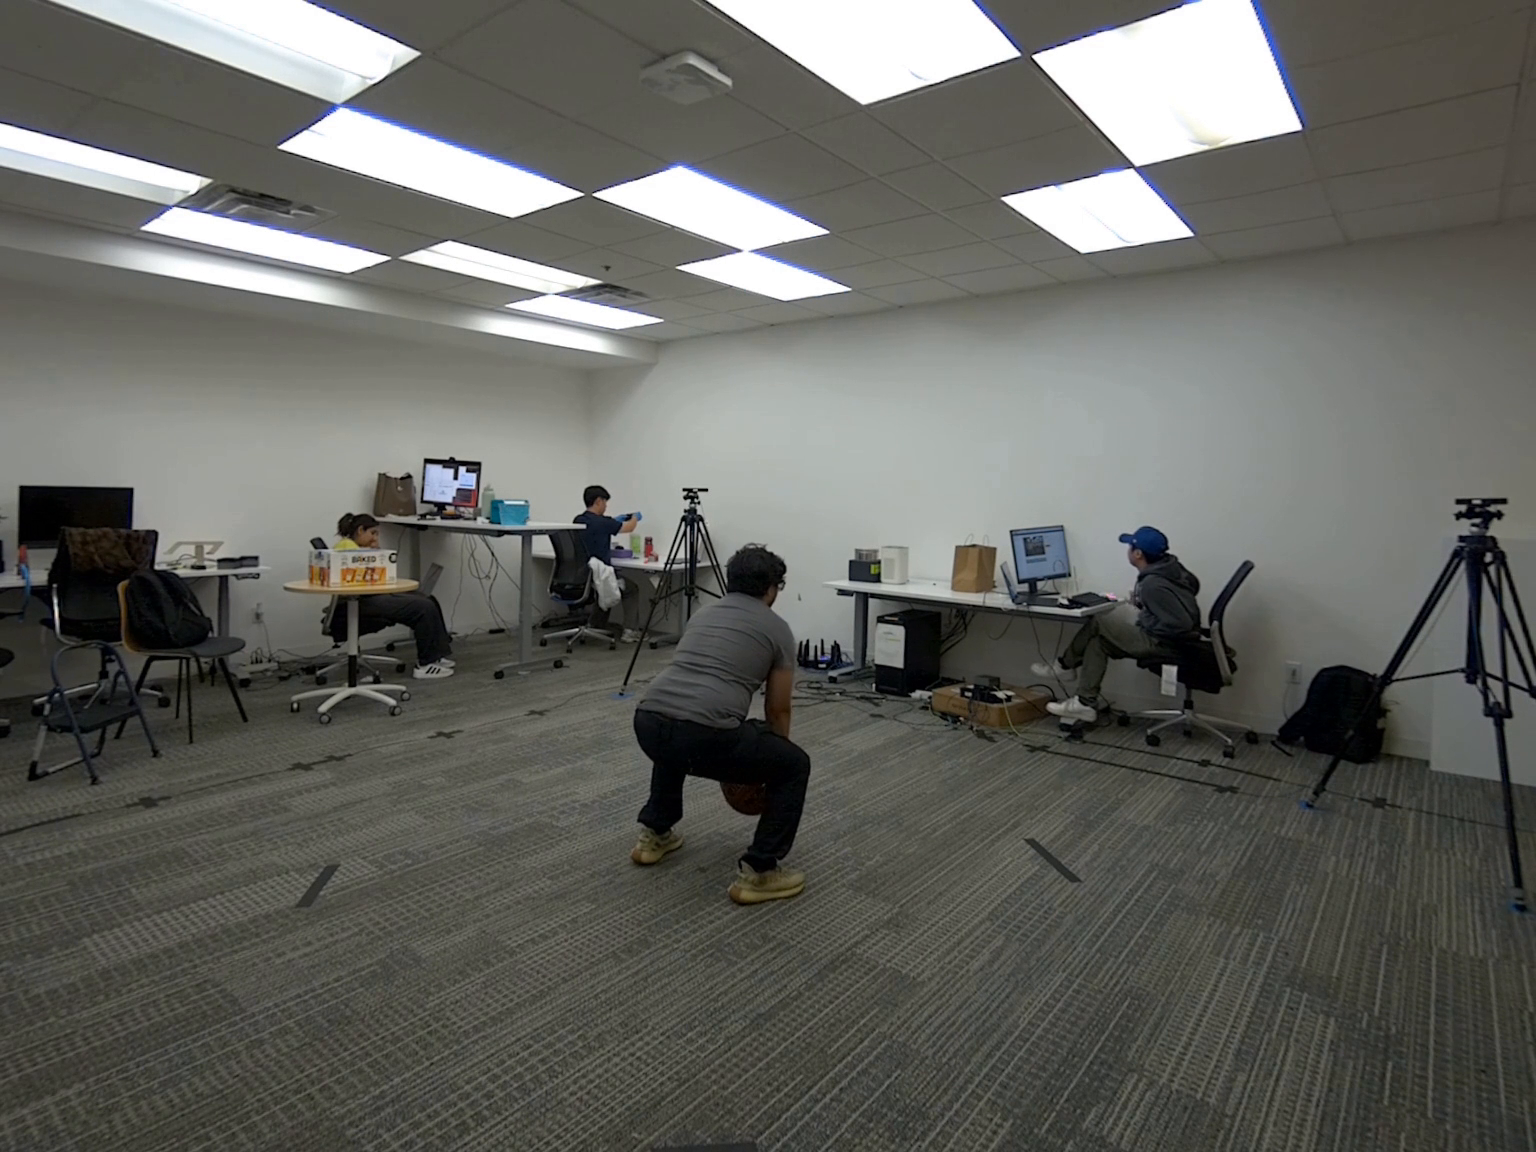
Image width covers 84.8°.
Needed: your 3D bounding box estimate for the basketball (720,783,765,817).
[{"bbox_3d":[-0.068,0.801,3.302,0.235,0.235,0.237,1,4,-2],"label":"basketball"}]
